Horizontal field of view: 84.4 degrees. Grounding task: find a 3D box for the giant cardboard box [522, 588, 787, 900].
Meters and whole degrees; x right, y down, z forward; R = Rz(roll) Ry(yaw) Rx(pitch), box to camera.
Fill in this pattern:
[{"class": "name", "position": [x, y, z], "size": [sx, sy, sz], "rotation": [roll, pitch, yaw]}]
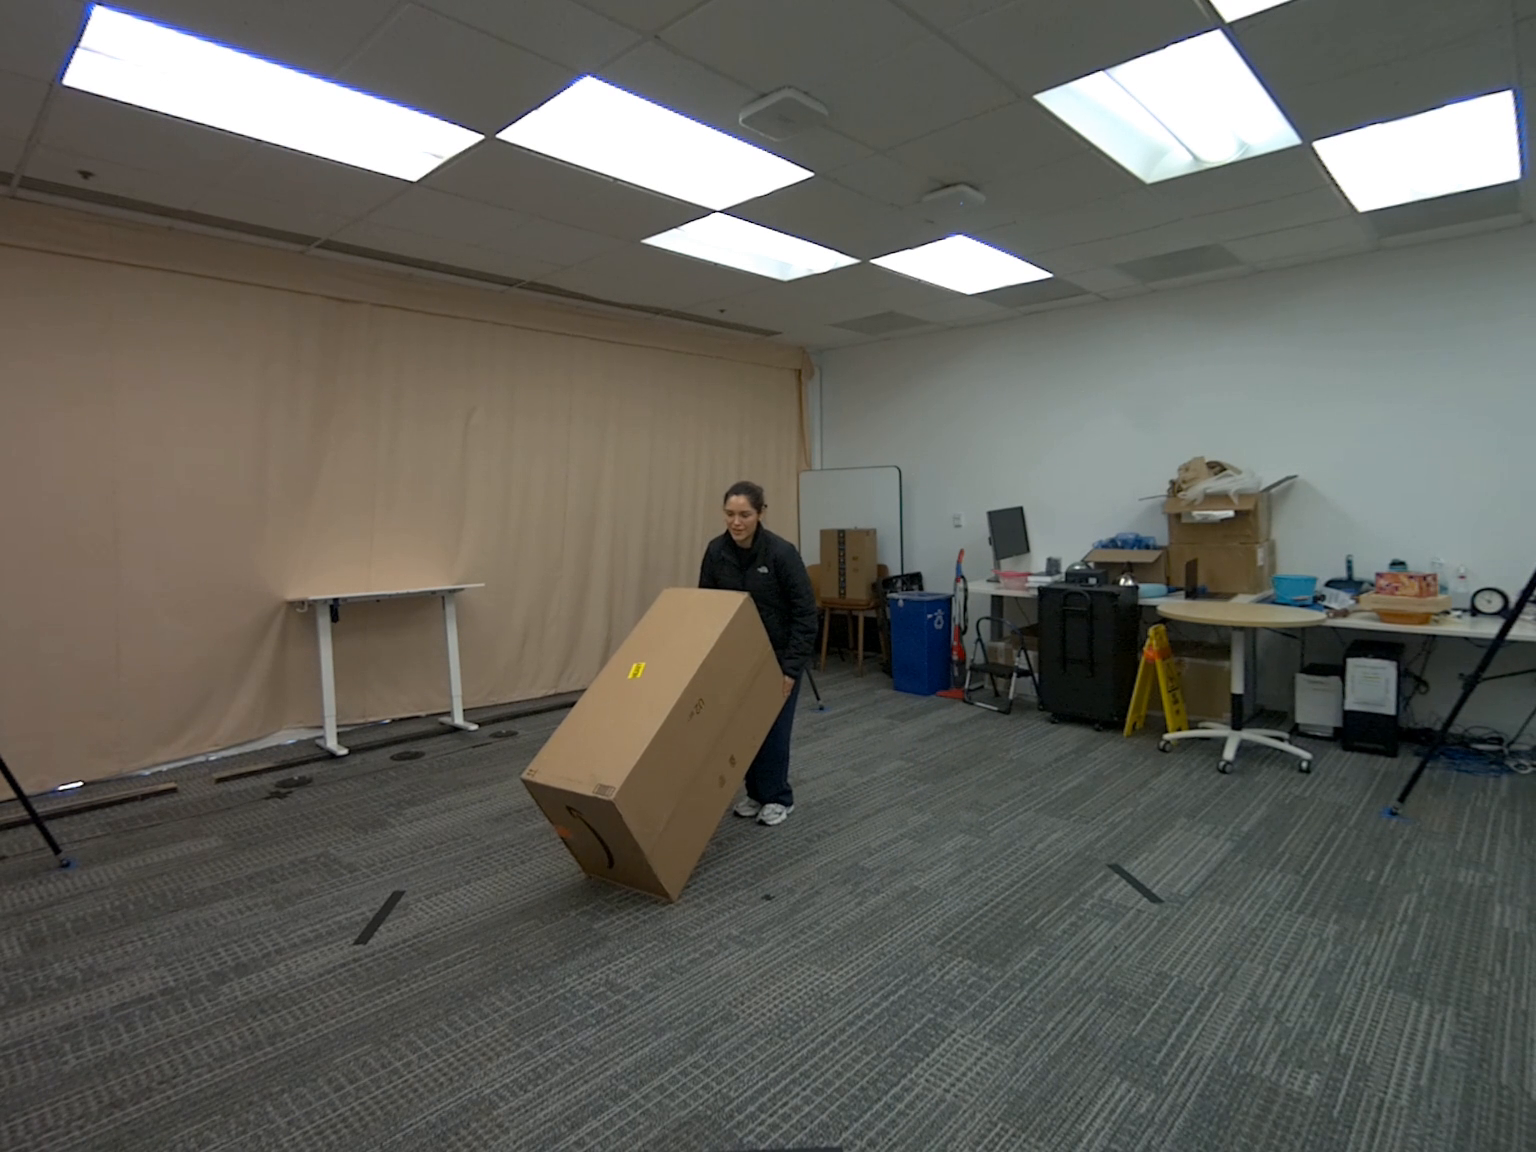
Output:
[{"class": "giant cardboard box", "position": [-0.371, 0.595, 3.256], "size": [0.460, 0.568, 1.024], "rotation": [0, 39, 32]}]
